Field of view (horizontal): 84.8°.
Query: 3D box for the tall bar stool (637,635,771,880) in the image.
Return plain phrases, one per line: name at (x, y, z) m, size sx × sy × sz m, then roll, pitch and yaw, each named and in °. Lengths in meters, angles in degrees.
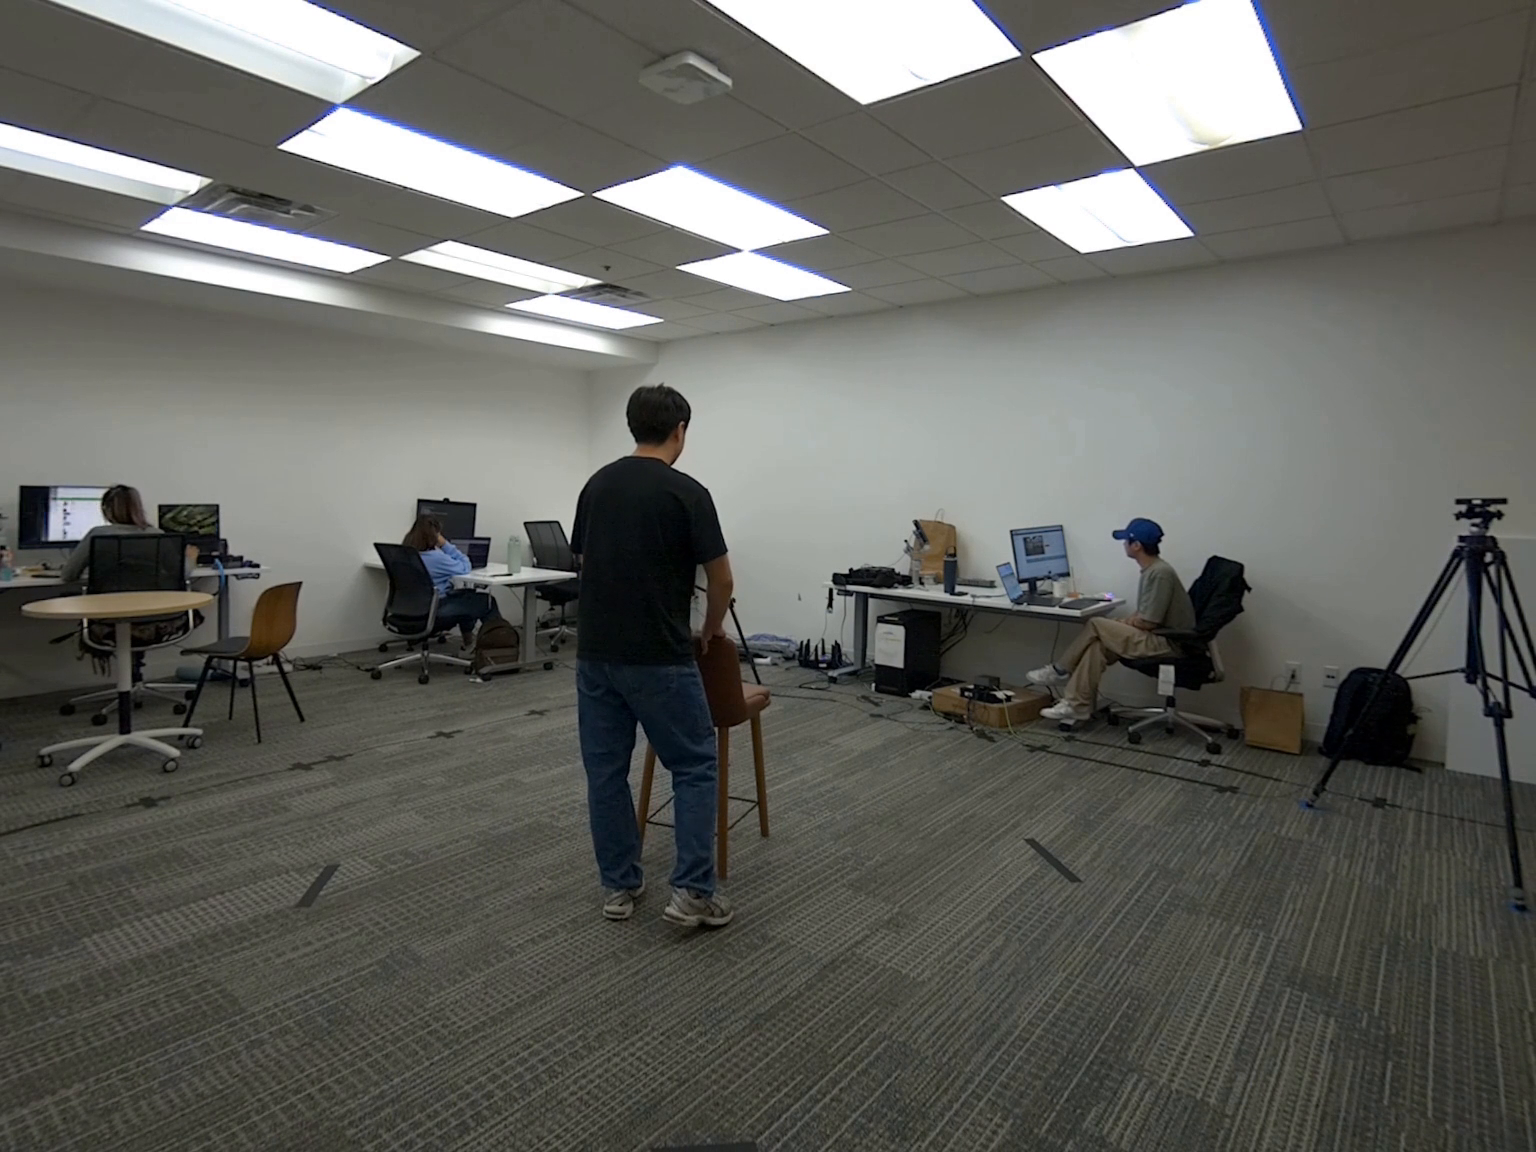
tall bar stool at (-0.262, 0.611, 3.276) m, size 0.467 × 0.886 × 0.459 m, roll 2°, pitch 5°, yaw 22°
